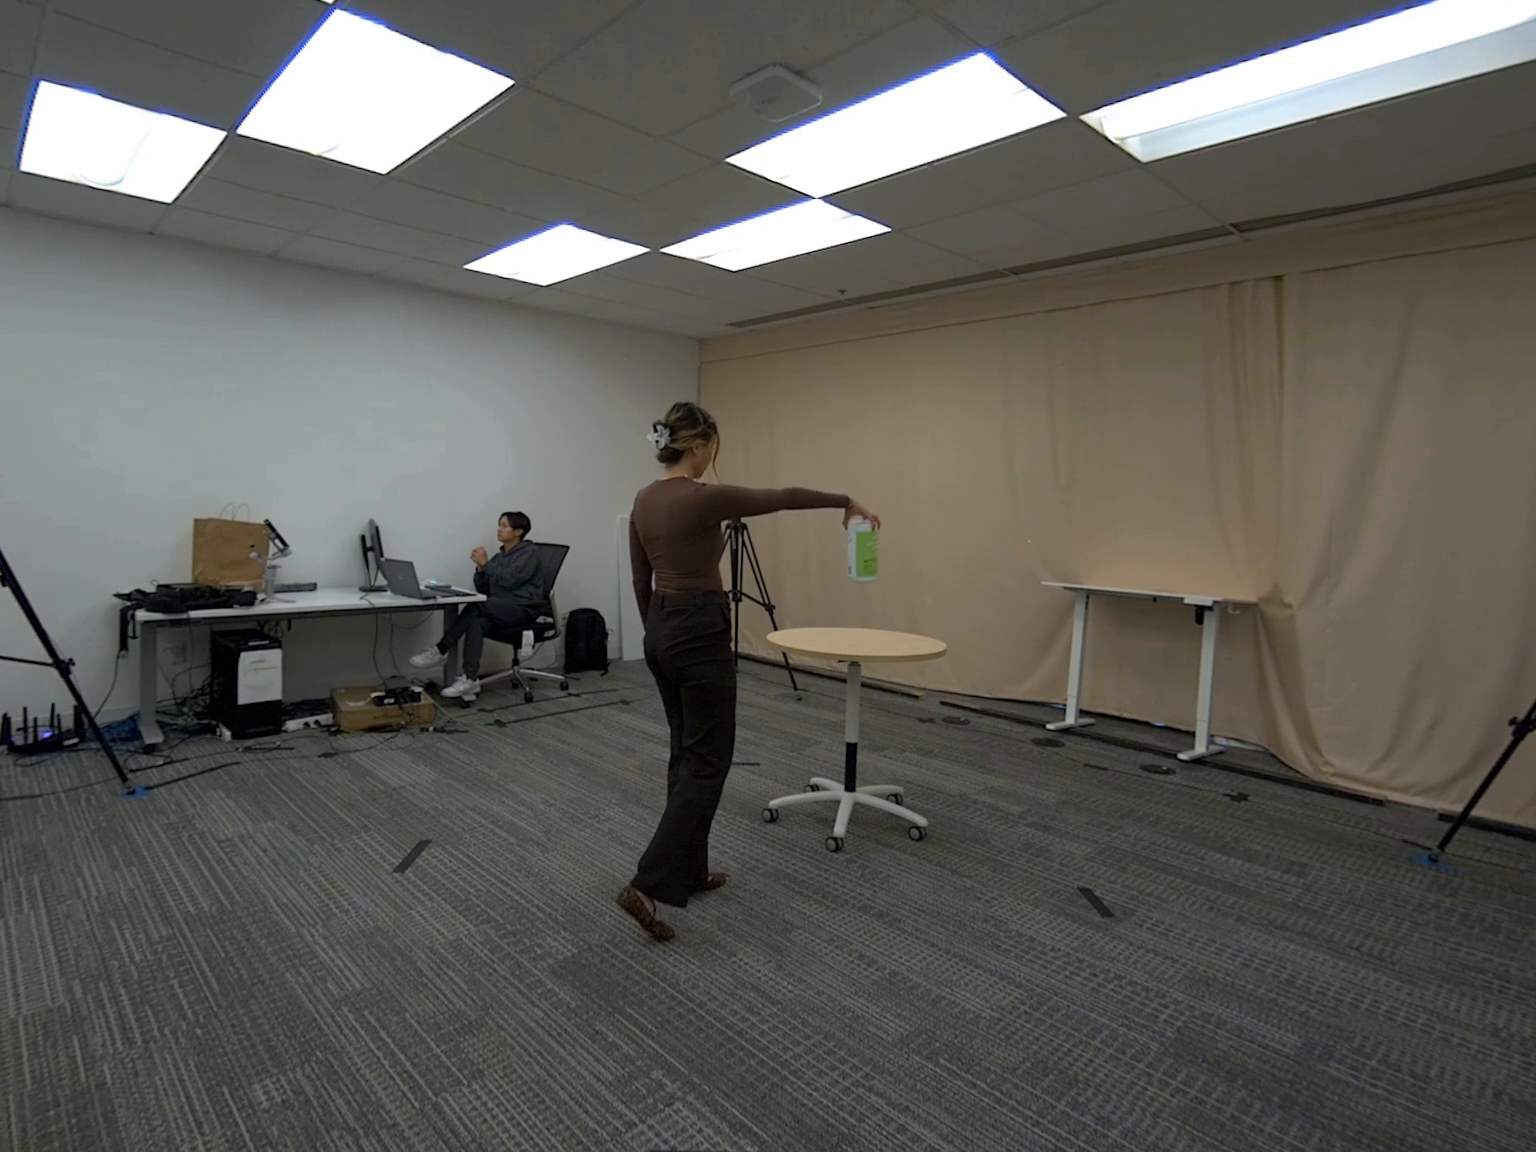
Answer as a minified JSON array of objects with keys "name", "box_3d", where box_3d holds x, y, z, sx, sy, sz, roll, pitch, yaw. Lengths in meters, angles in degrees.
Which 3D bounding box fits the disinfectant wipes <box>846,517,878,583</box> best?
[{"name":"disinfectant wipes","box_3d":[0.339,-0.082,3.075,0.118,0.216,0.118,-3,9,-1]}]
